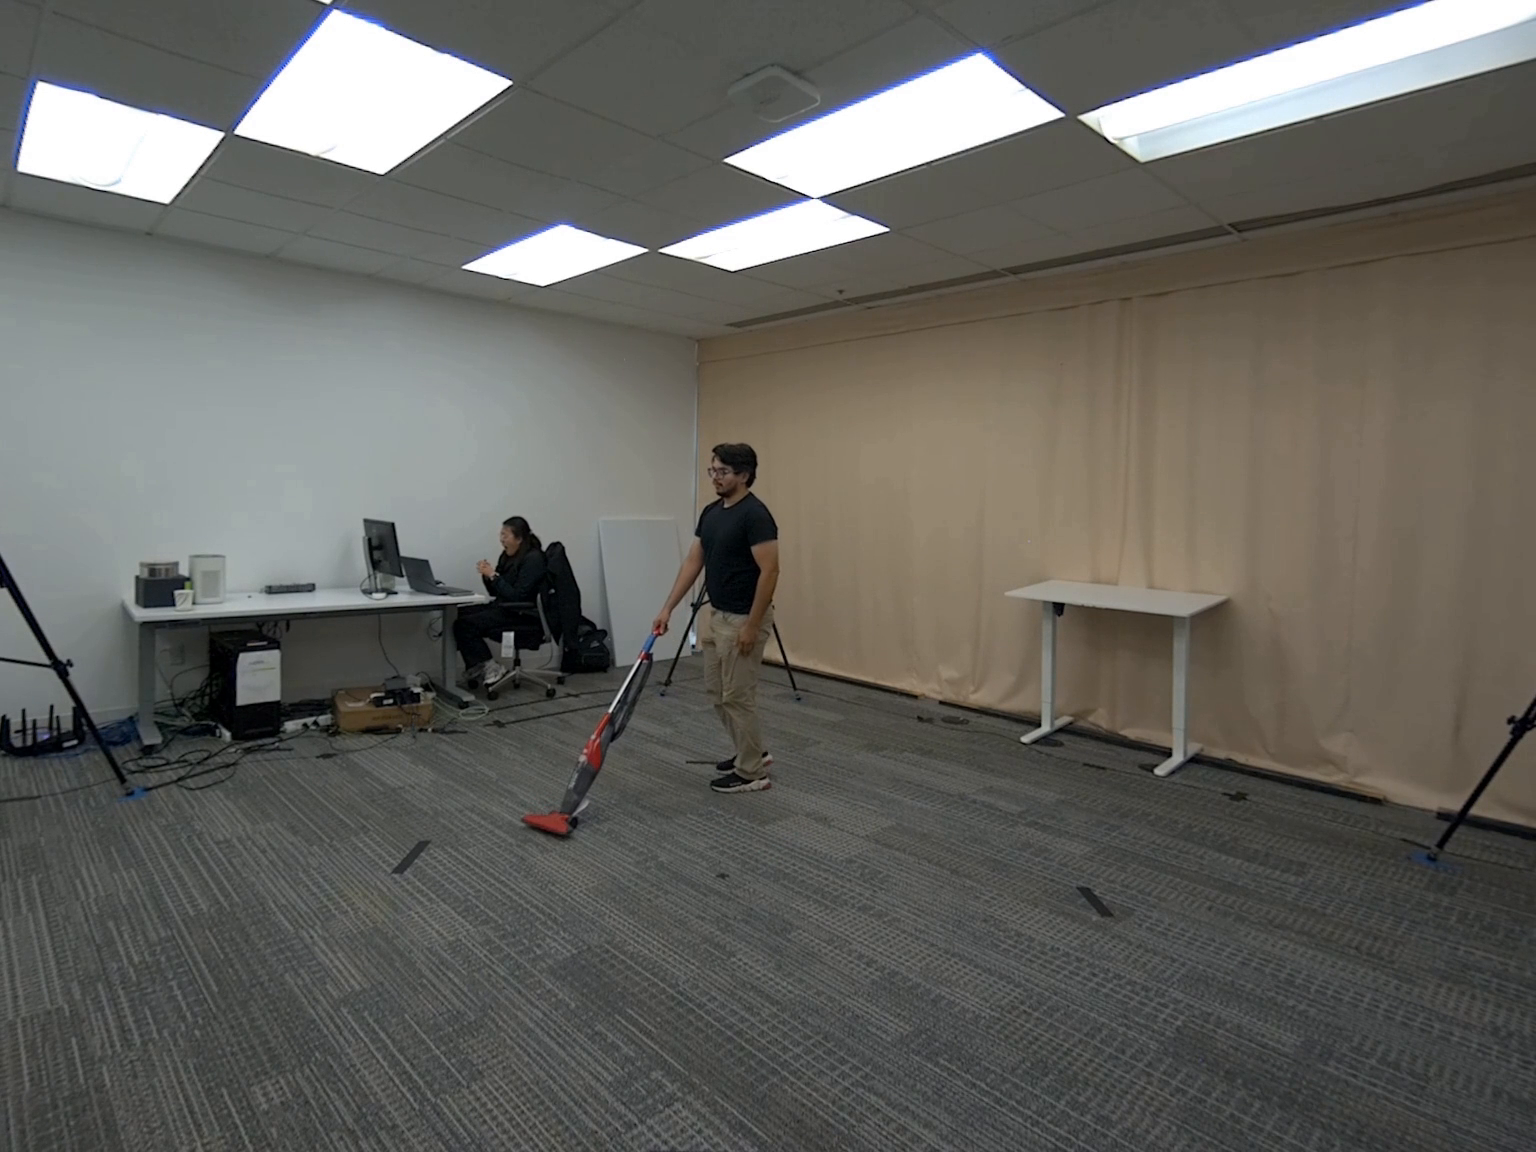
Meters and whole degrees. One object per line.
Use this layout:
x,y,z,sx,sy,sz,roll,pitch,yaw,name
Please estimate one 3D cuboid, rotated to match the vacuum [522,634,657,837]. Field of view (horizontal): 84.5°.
-0.698,0.647,3.779,0.258,1.057,0.140,5,-39,30,vacuum
